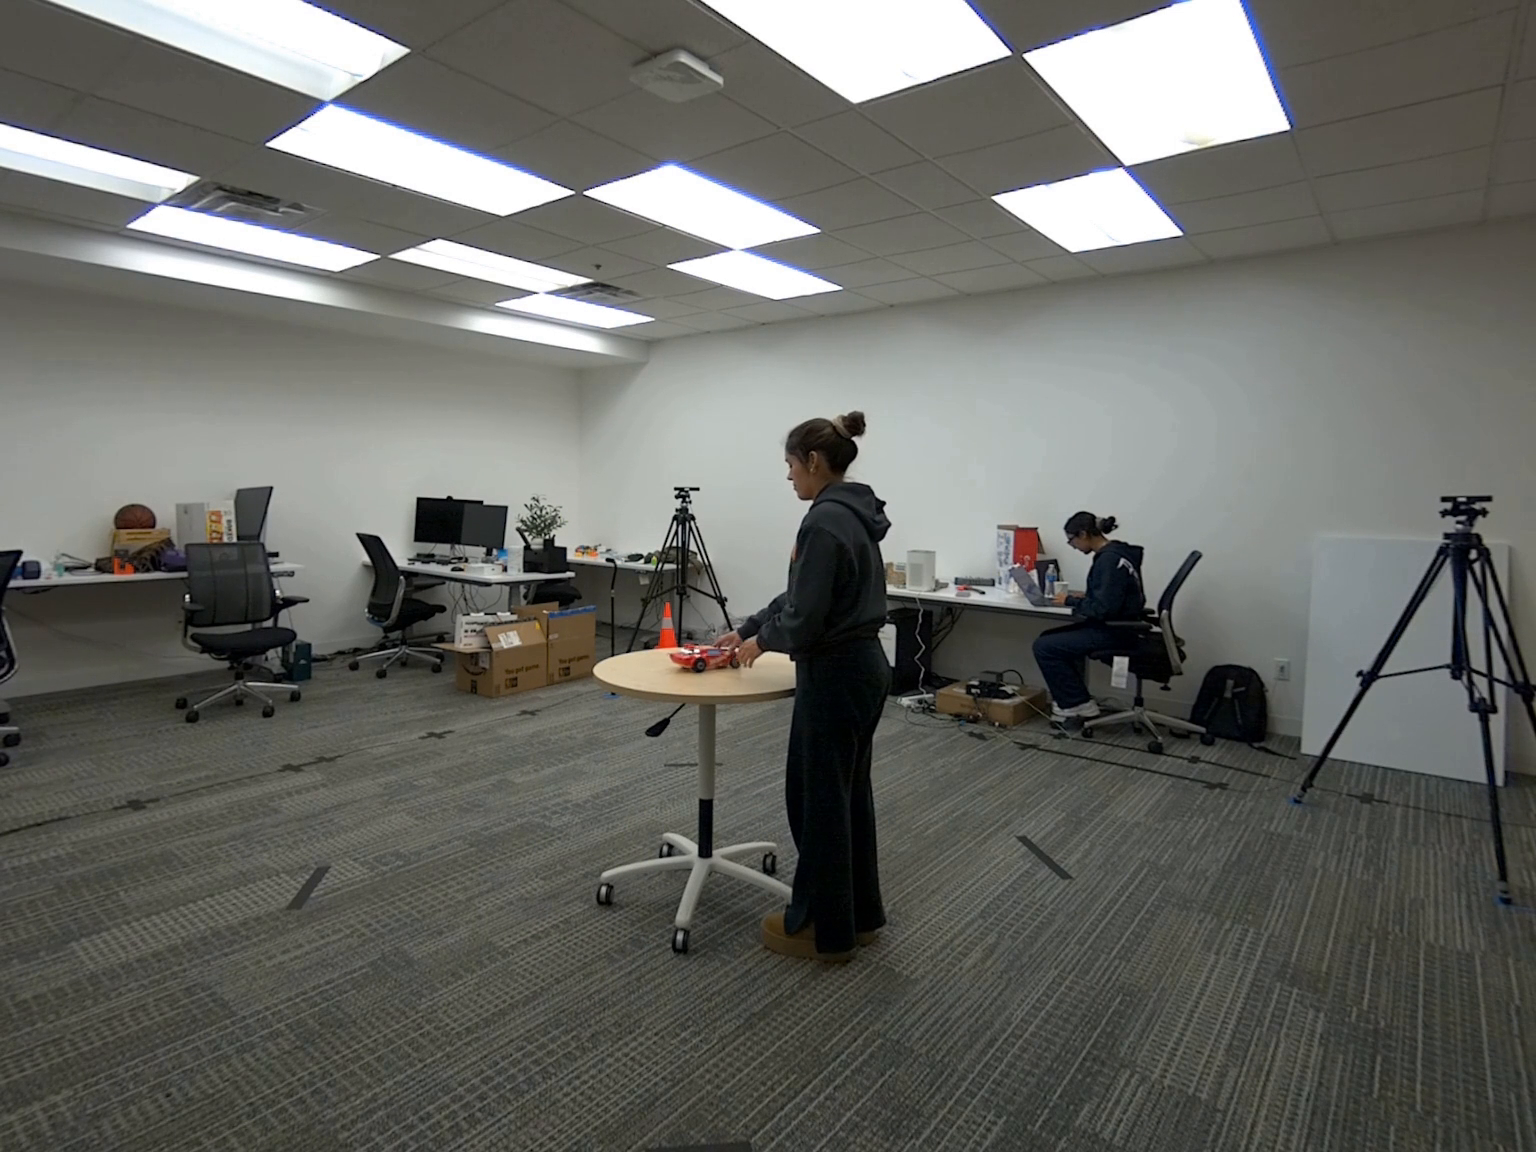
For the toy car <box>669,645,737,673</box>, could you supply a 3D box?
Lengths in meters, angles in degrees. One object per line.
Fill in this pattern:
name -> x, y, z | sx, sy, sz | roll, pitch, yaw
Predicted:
toy car -> -0.219, 0.278, 2.856 | 0.246, 0.083, 0.134 | 11, -2, -33
